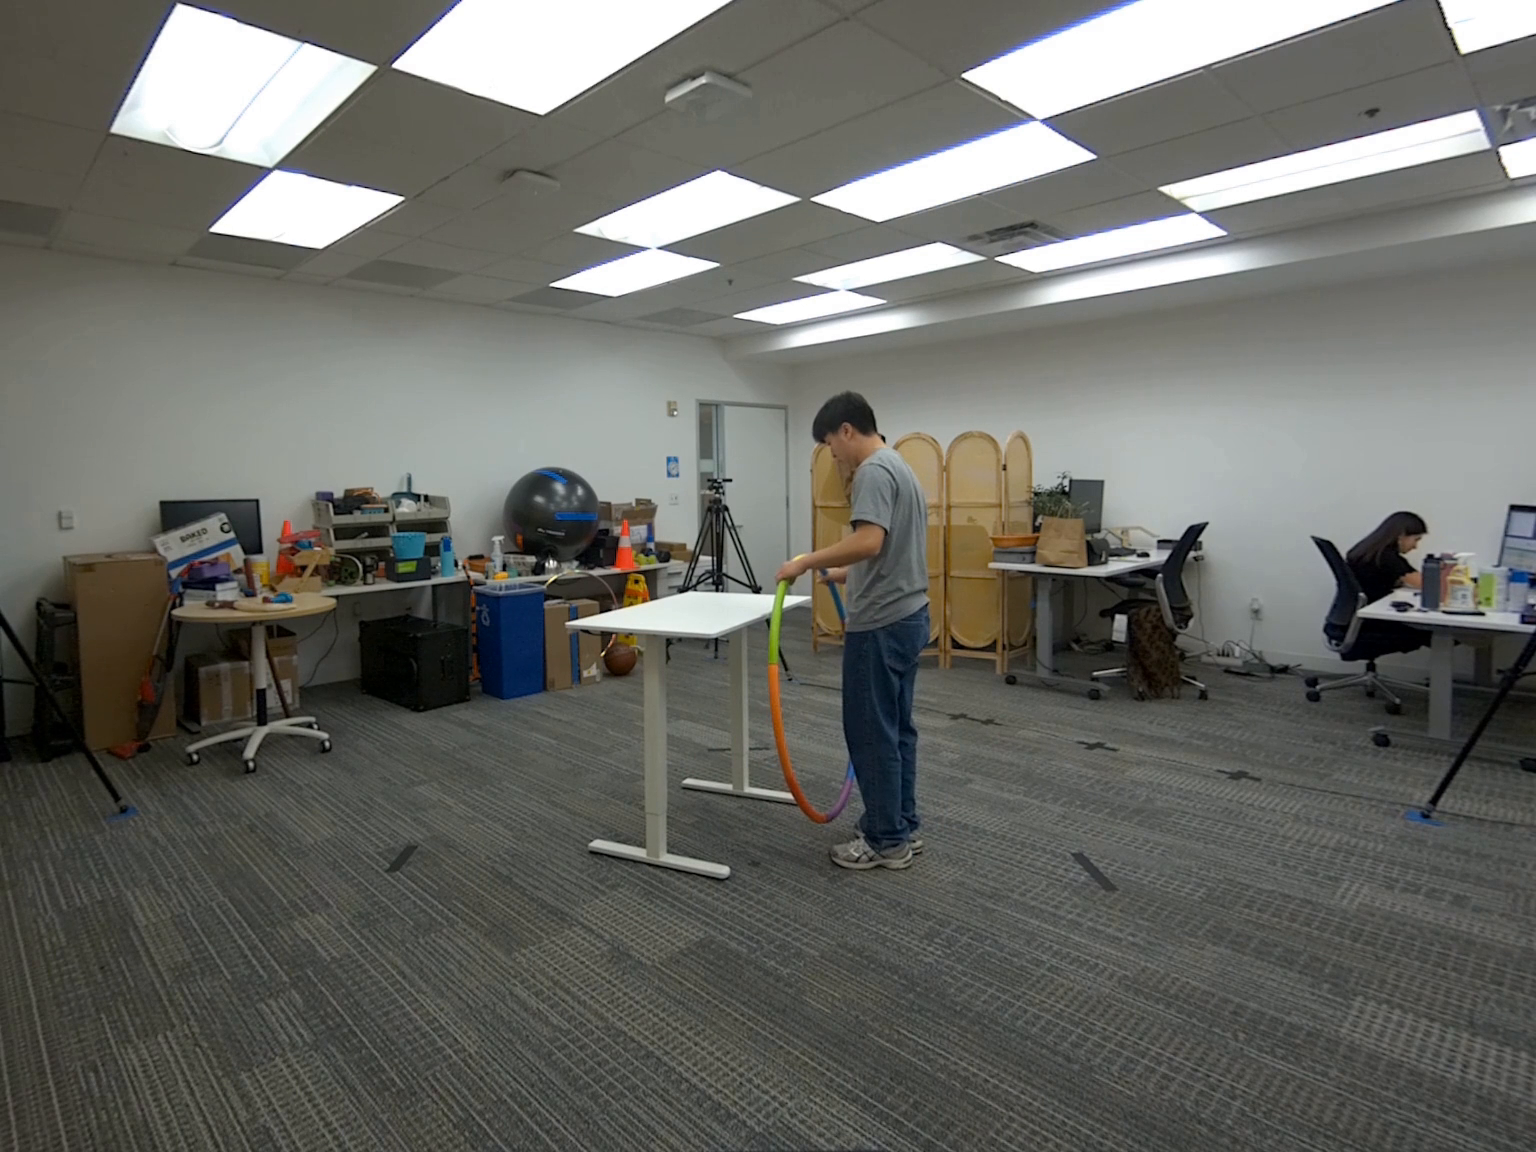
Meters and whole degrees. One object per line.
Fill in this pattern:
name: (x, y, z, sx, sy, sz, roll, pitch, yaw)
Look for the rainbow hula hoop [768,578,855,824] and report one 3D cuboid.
rainbow hula hoop: (0.182, 0.419, 3.226, 0.036, 0.978, 0.962, -8, 2, 21)
